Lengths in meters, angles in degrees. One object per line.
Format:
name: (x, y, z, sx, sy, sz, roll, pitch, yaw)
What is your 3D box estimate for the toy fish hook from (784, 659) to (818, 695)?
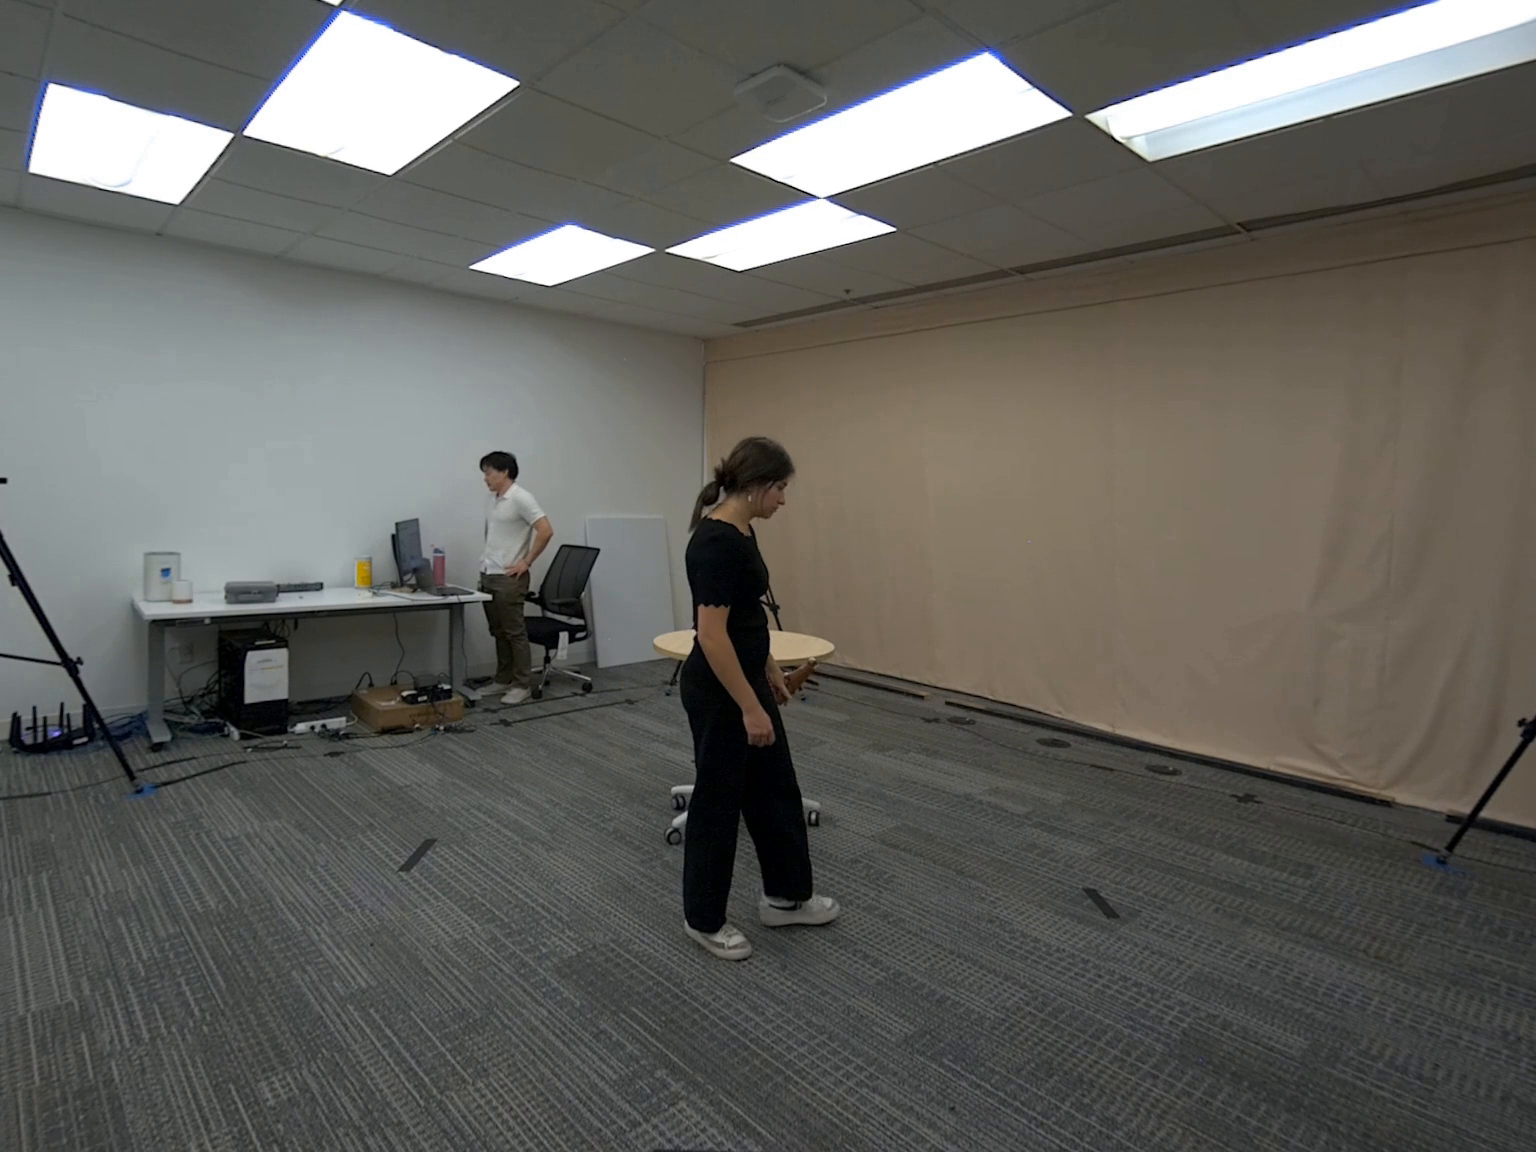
toy fish hook: (0.015, 0.498, 2.846, 0.225, 0.506, 0.048, 38, 2, 3)
